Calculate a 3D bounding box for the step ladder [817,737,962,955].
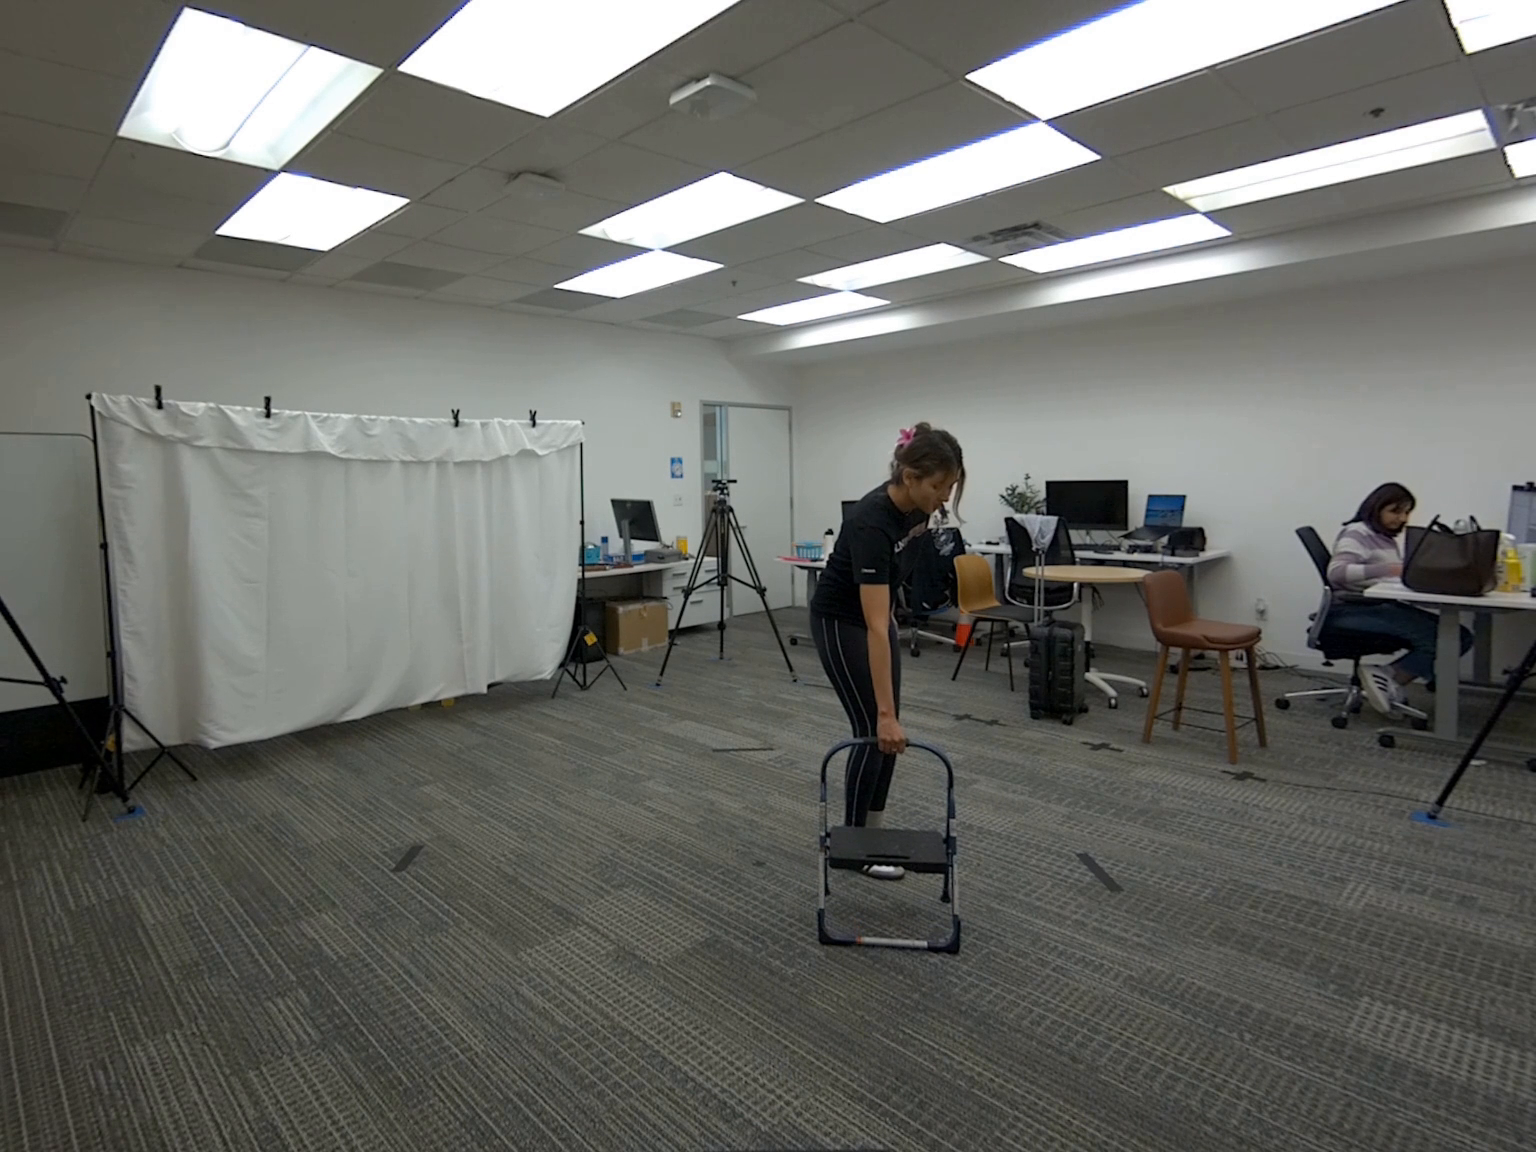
[{"bbox_3d":[0.373,0.790,2.675,0.434,0.604,0.348,0,4,7],"label":"step ladder"}]
